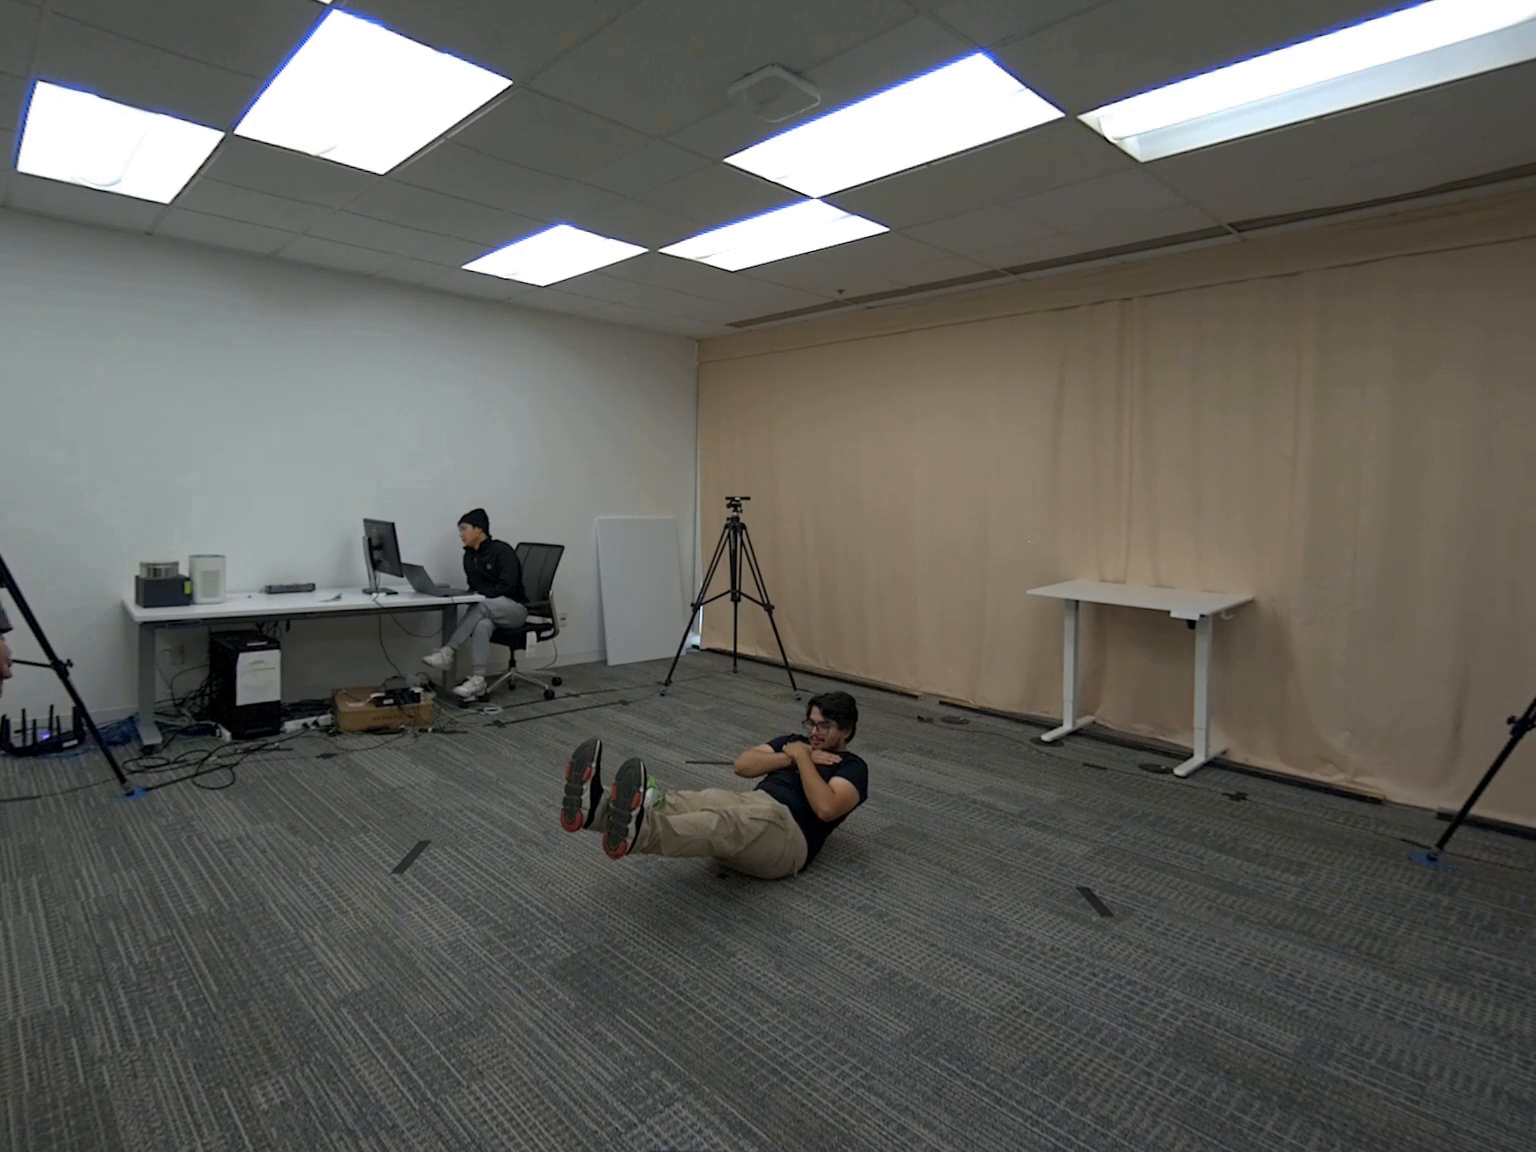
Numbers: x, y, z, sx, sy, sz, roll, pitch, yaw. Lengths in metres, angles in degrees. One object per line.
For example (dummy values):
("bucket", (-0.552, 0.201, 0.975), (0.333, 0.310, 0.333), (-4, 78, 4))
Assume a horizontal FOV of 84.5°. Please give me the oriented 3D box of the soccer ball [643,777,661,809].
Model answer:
("soccer ball", (-0.432, 0.742, 2.727), (0.187, 0.187, 0.188), (1, 5, -1))
